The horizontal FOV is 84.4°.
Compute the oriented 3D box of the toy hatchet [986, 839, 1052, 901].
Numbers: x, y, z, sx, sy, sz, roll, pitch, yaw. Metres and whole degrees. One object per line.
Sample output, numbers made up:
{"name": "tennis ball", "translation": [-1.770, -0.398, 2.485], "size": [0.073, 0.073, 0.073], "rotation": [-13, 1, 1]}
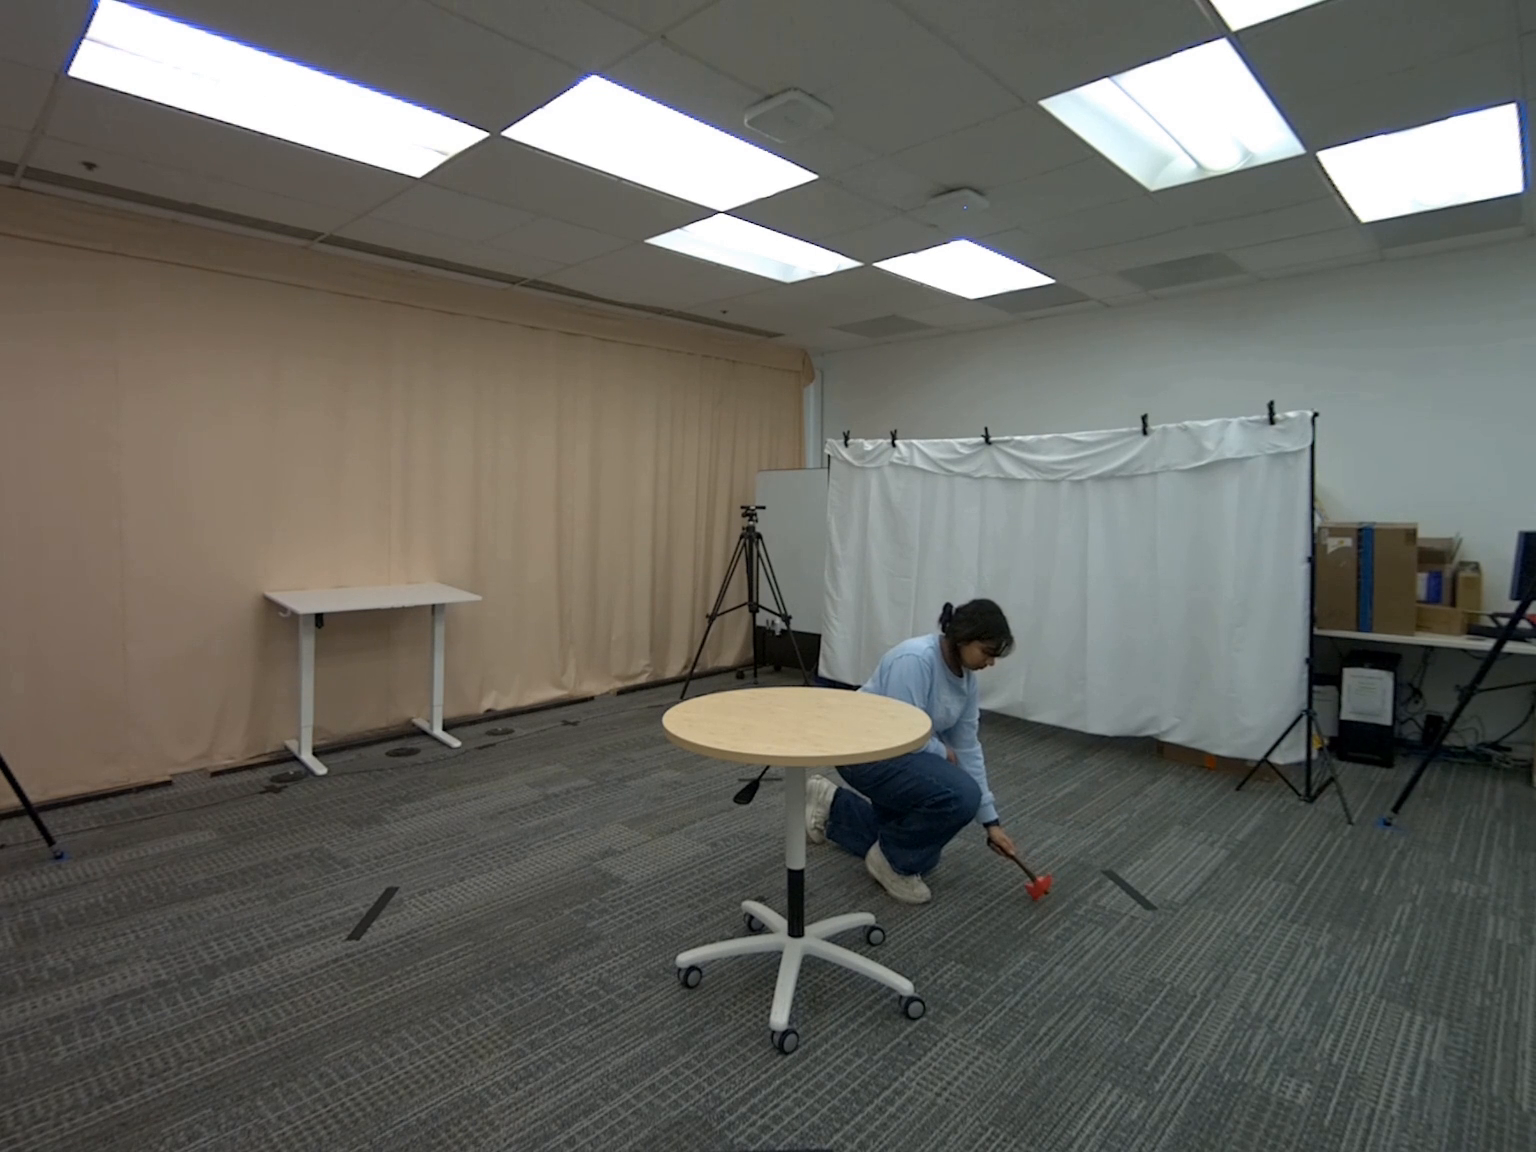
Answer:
{"name": "toy hatchet", "translation": [0.907, 1.059, 3.010], "size": [0.029, 0.129, 0.280], "rotation": [-12, 21, -32]}
